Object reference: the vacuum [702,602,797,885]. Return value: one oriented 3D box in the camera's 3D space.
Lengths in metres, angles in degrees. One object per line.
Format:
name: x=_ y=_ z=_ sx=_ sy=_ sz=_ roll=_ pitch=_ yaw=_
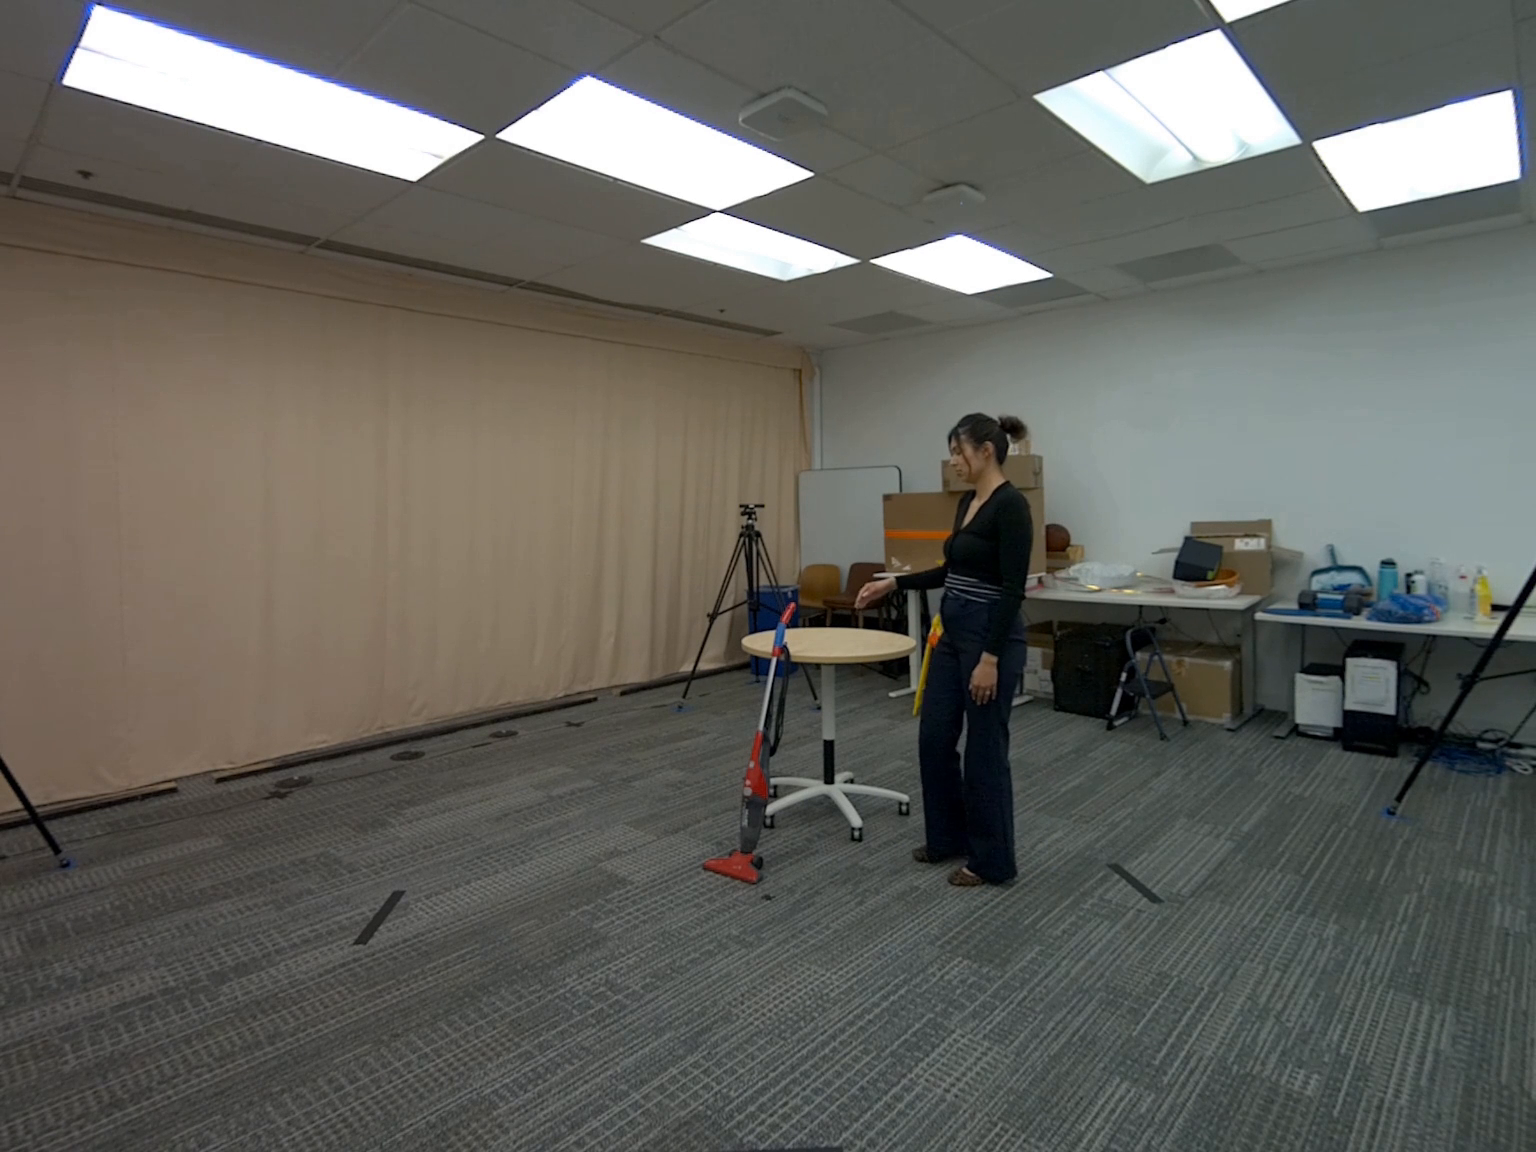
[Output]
vacuum: x=-0.005 y=0.626 z=3.346 sx=0.261 sy=1.055 sz=0.139 roll=1 pitch=-19 yaw=39
